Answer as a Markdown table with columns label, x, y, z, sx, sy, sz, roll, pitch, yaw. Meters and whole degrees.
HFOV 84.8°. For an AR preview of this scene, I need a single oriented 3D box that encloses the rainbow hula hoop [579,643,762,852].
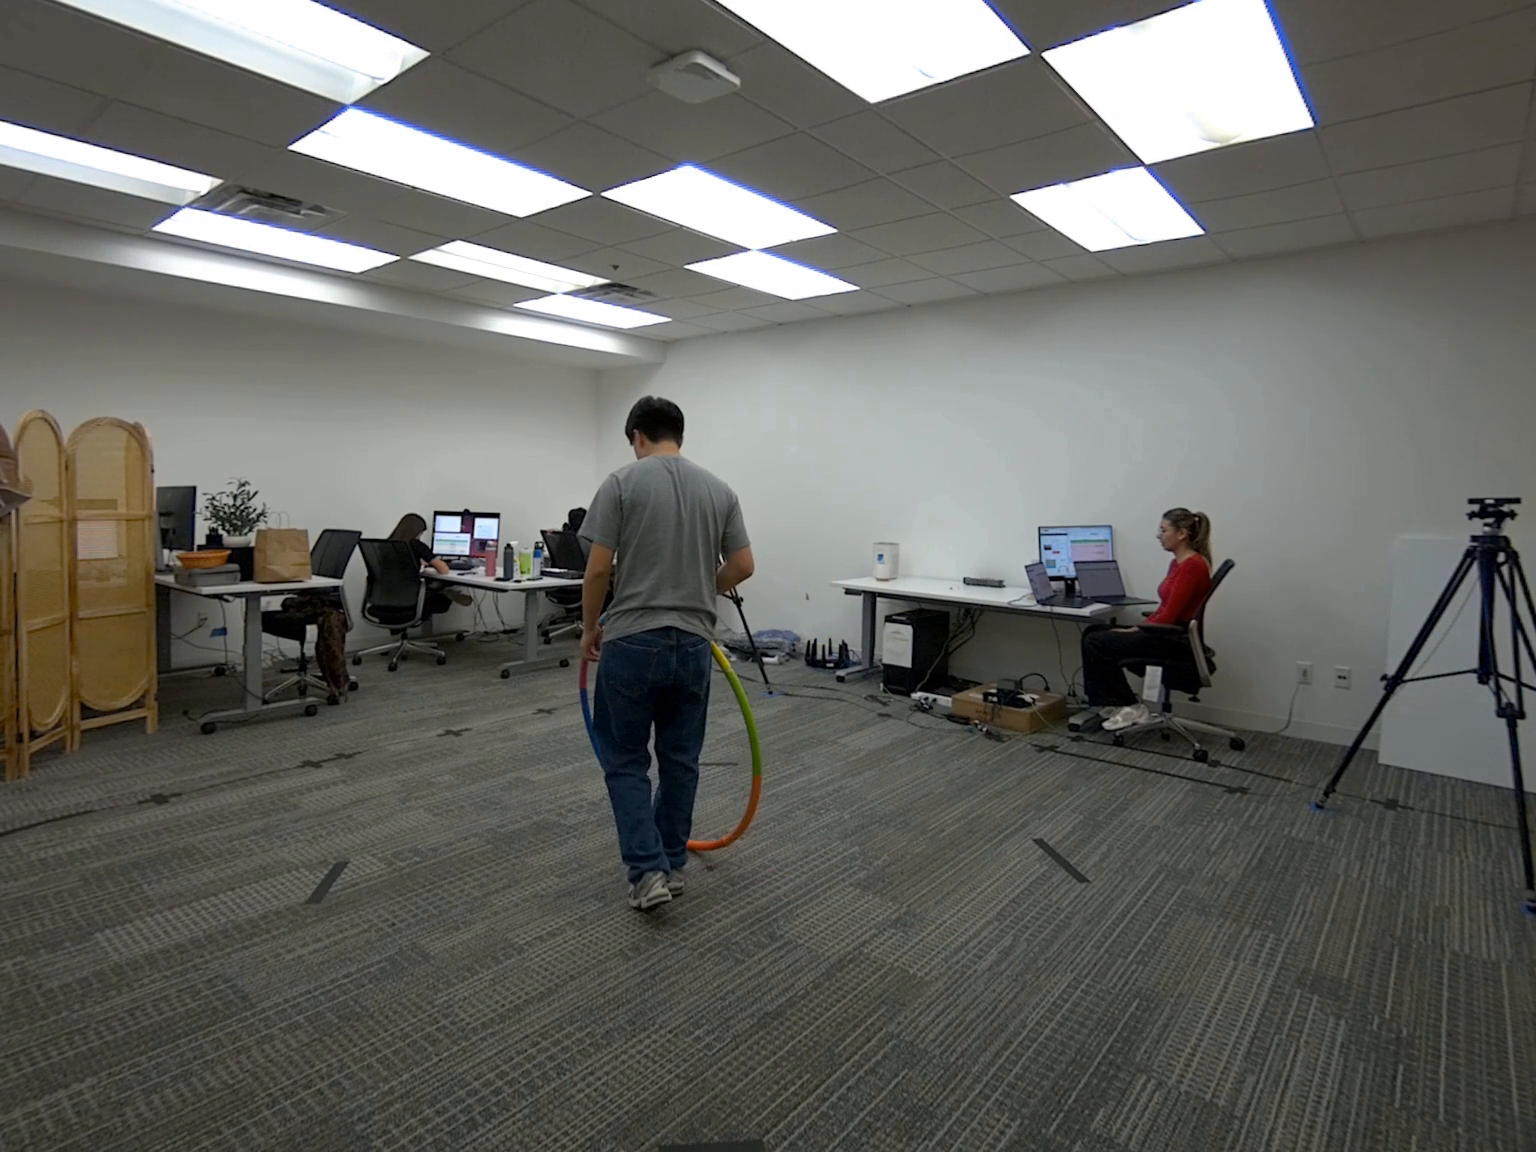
| label | x | y | z | sx | sy | sz | roll | pitch | yaw |
| --- | --- | --- | --- | --- | --- | --- | --- | --- | --- |
| rainbow hula hoop | -0.408 | 0.567 | 3.235 | 1.012 | 0.968 | 0.035 | 5 | 14 | 42 |
